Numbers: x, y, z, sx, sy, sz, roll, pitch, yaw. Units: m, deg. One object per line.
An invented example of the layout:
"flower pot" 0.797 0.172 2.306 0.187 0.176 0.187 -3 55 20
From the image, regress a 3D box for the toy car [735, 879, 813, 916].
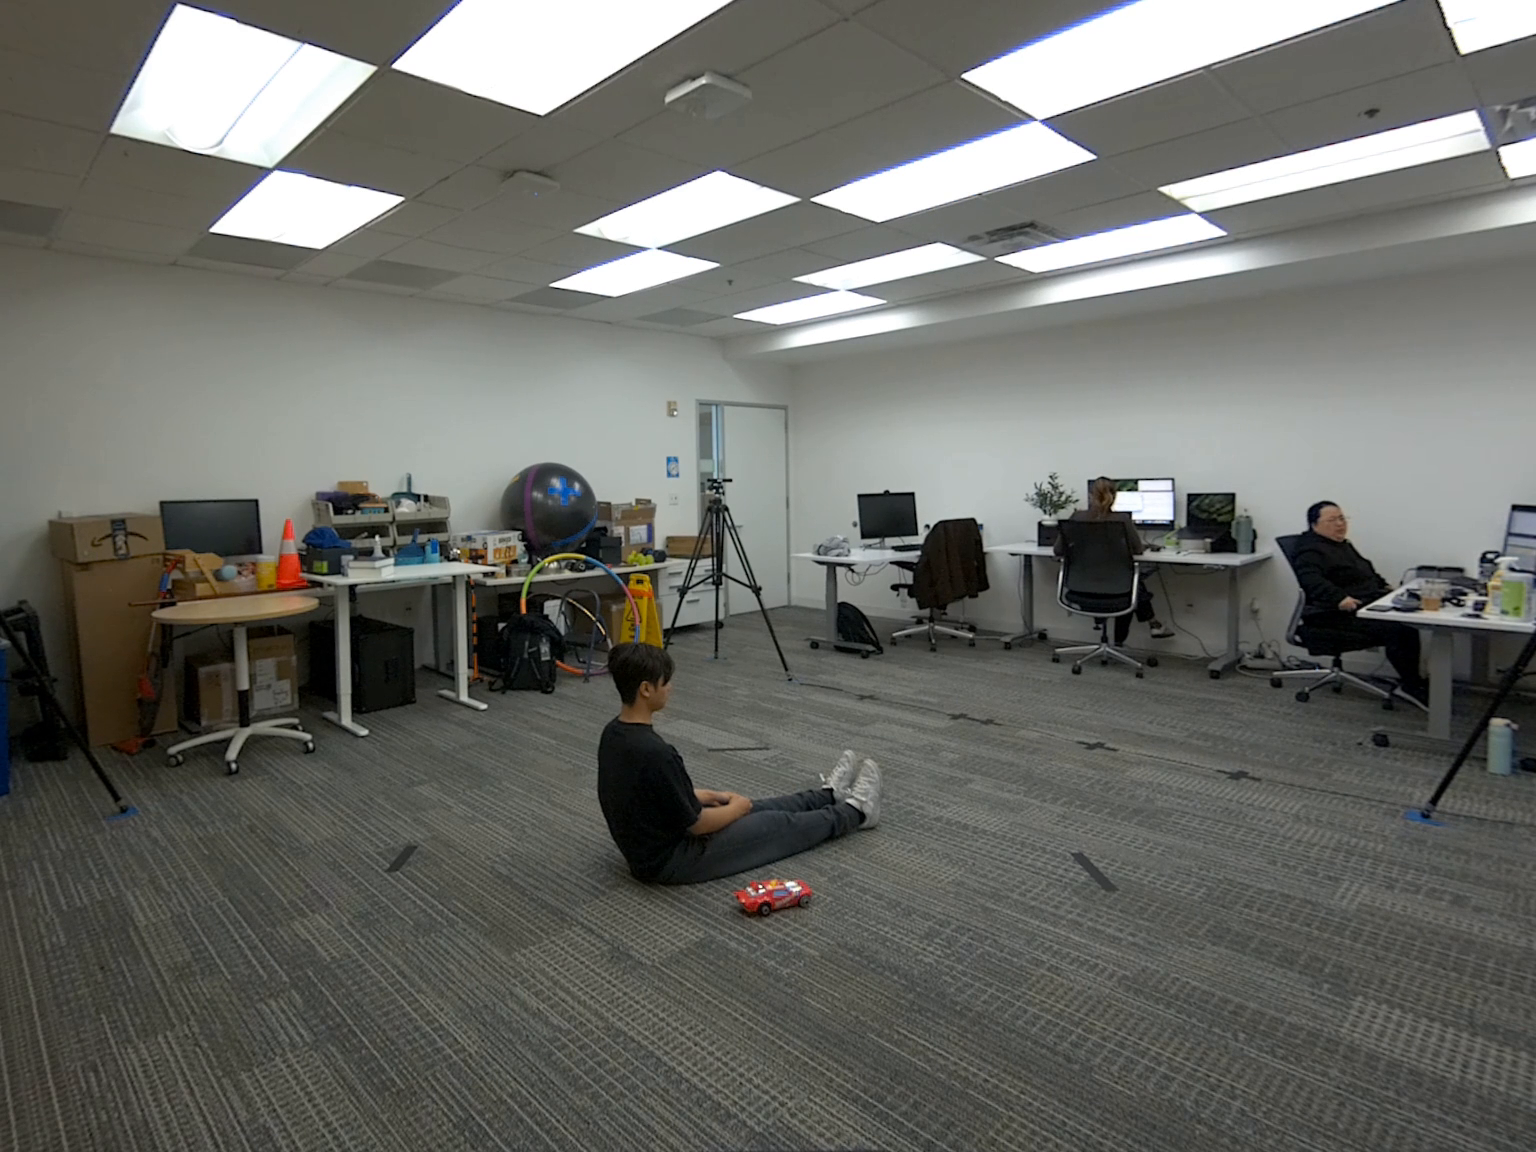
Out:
"toy car" 0.016 1.054 2.785 0.249 0.083 0.133 8 3 -21
